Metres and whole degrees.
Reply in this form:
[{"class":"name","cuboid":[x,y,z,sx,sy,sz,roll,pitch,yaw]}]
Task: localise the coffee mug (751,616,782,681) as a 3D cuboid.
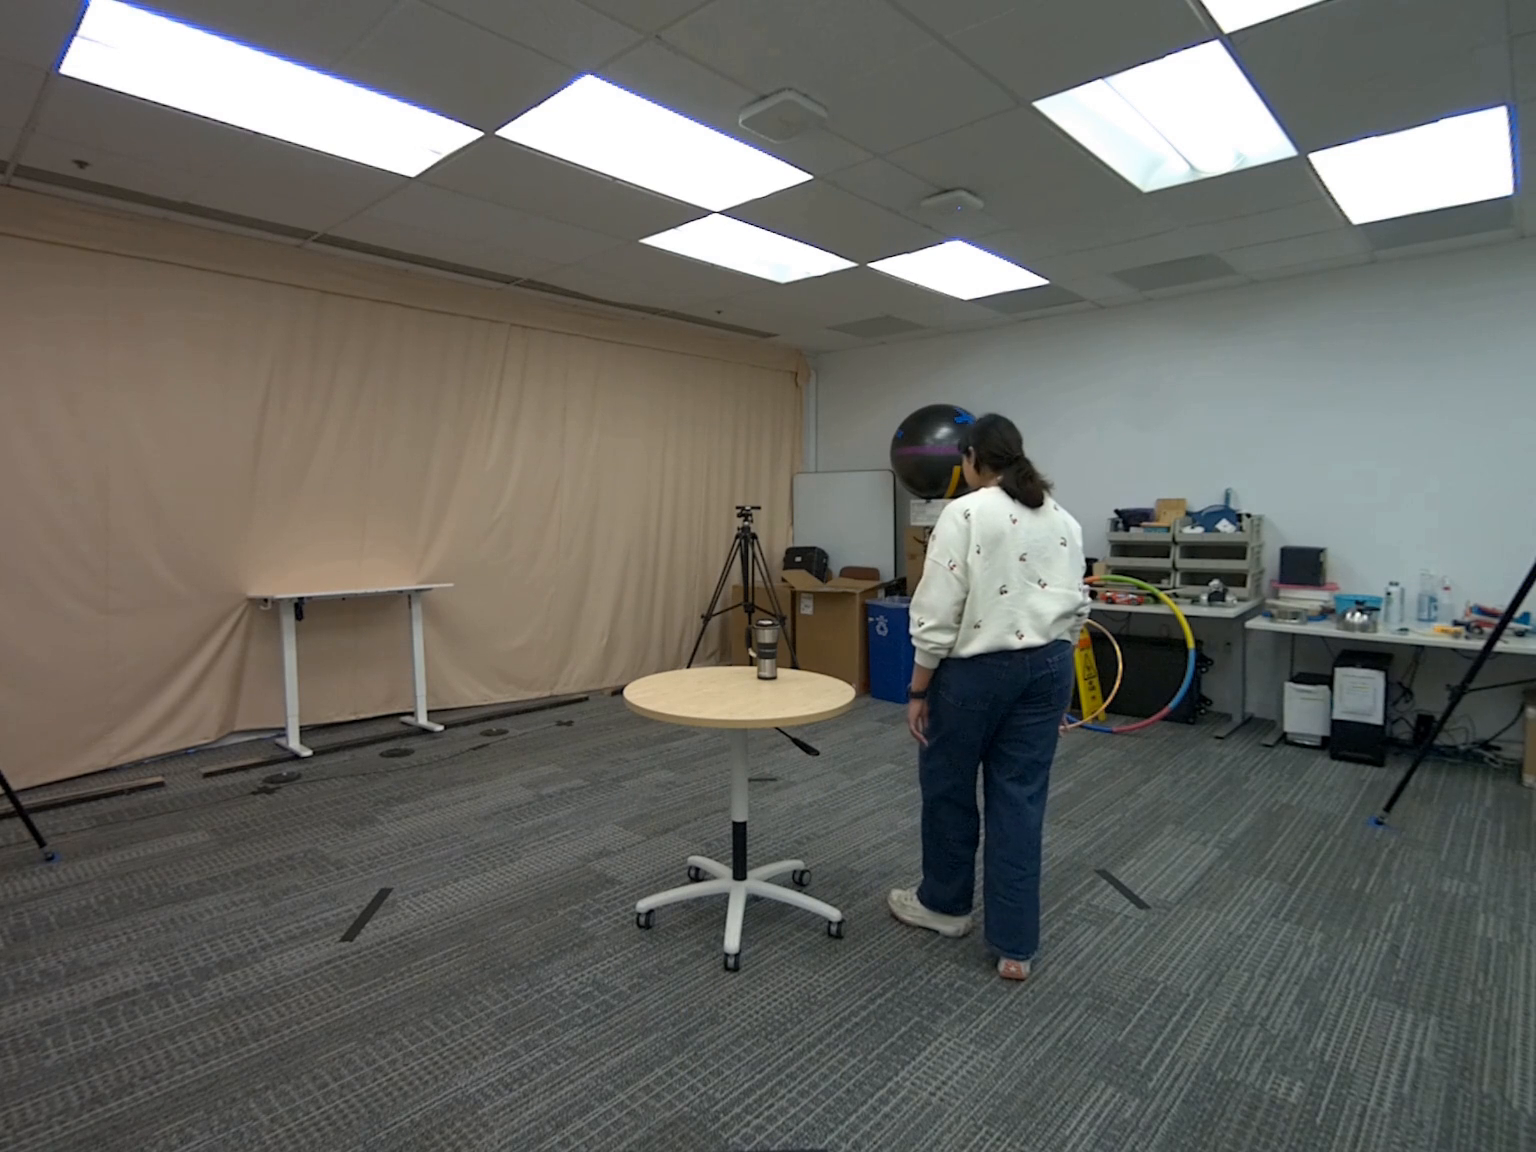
[{"class":"coffee mug","cuboid":[-0.012,0.259,2.978,0.085,0.202,0.126,-8,9,-39]}]
